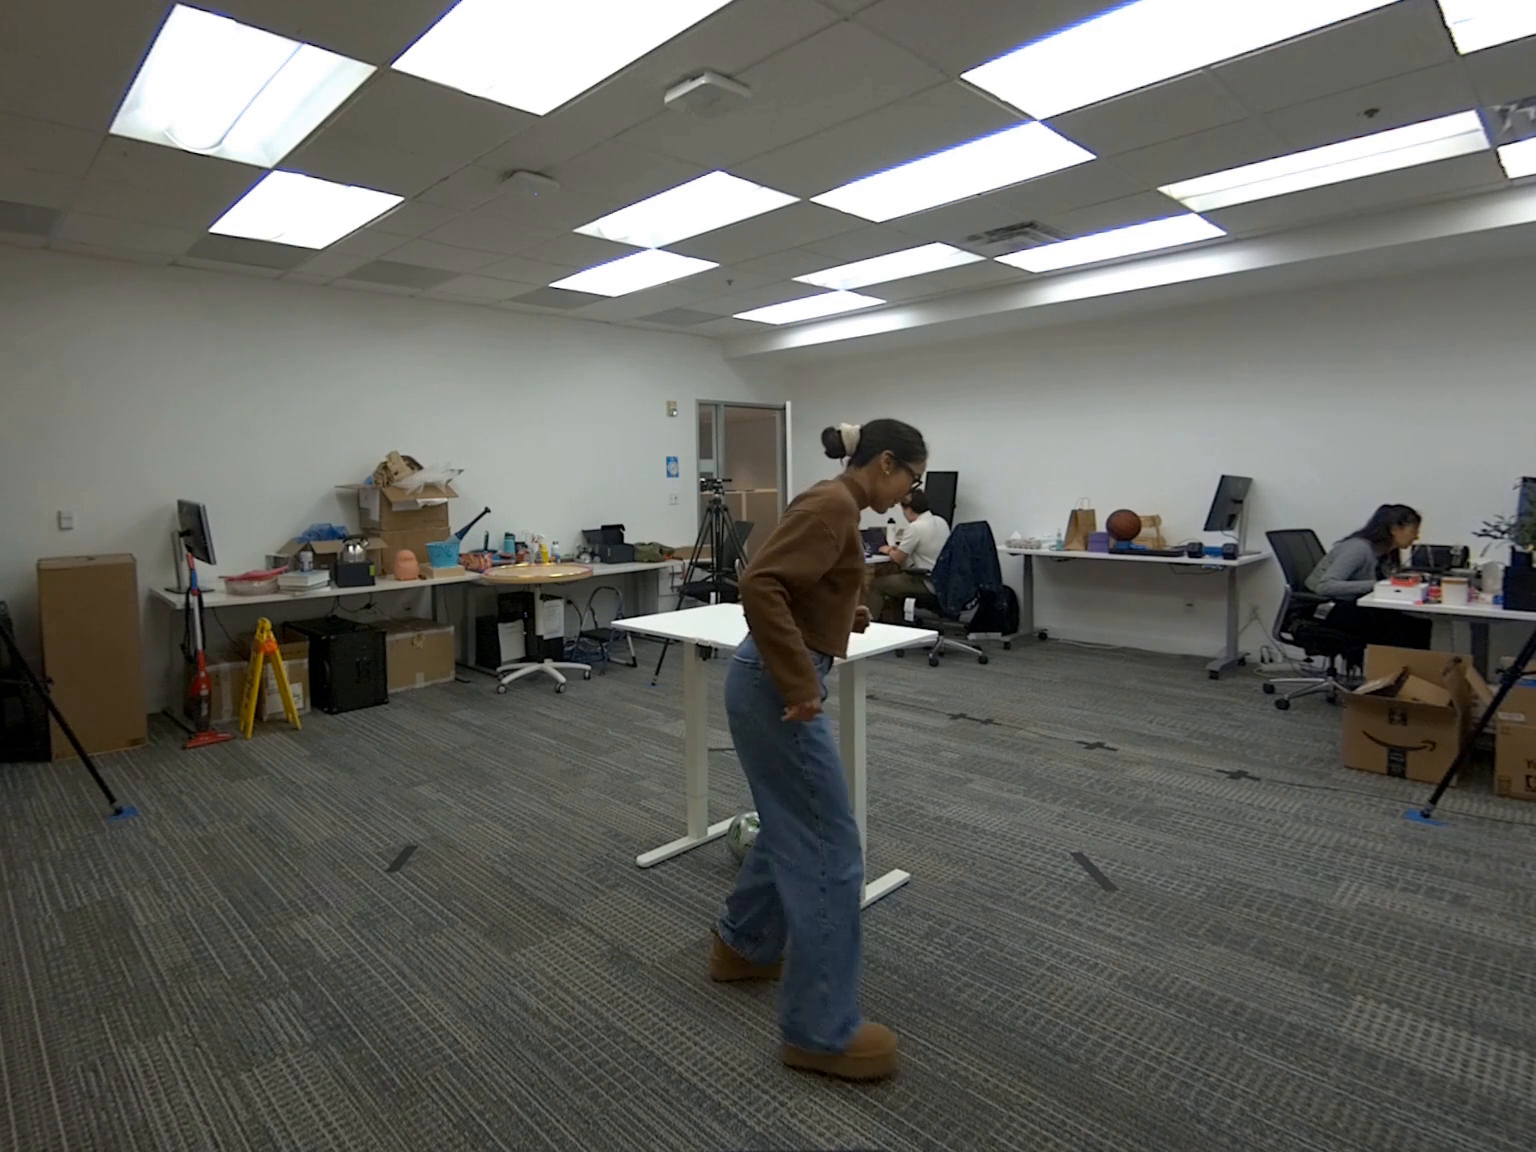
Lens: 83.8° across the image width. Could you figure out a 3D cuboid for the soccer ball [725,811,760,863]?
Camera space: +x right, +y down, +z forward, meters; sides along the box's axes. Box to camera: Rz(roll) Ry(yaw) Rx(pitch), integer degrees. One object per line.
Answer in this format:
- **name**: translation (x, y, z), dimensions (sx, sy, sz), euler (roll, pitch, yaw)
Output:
- **soccer ball**: translation (-0.057, 0.952, 3.103), dimensions (0.187, 0.187, 0.188), euler (-1, 5, -2)
